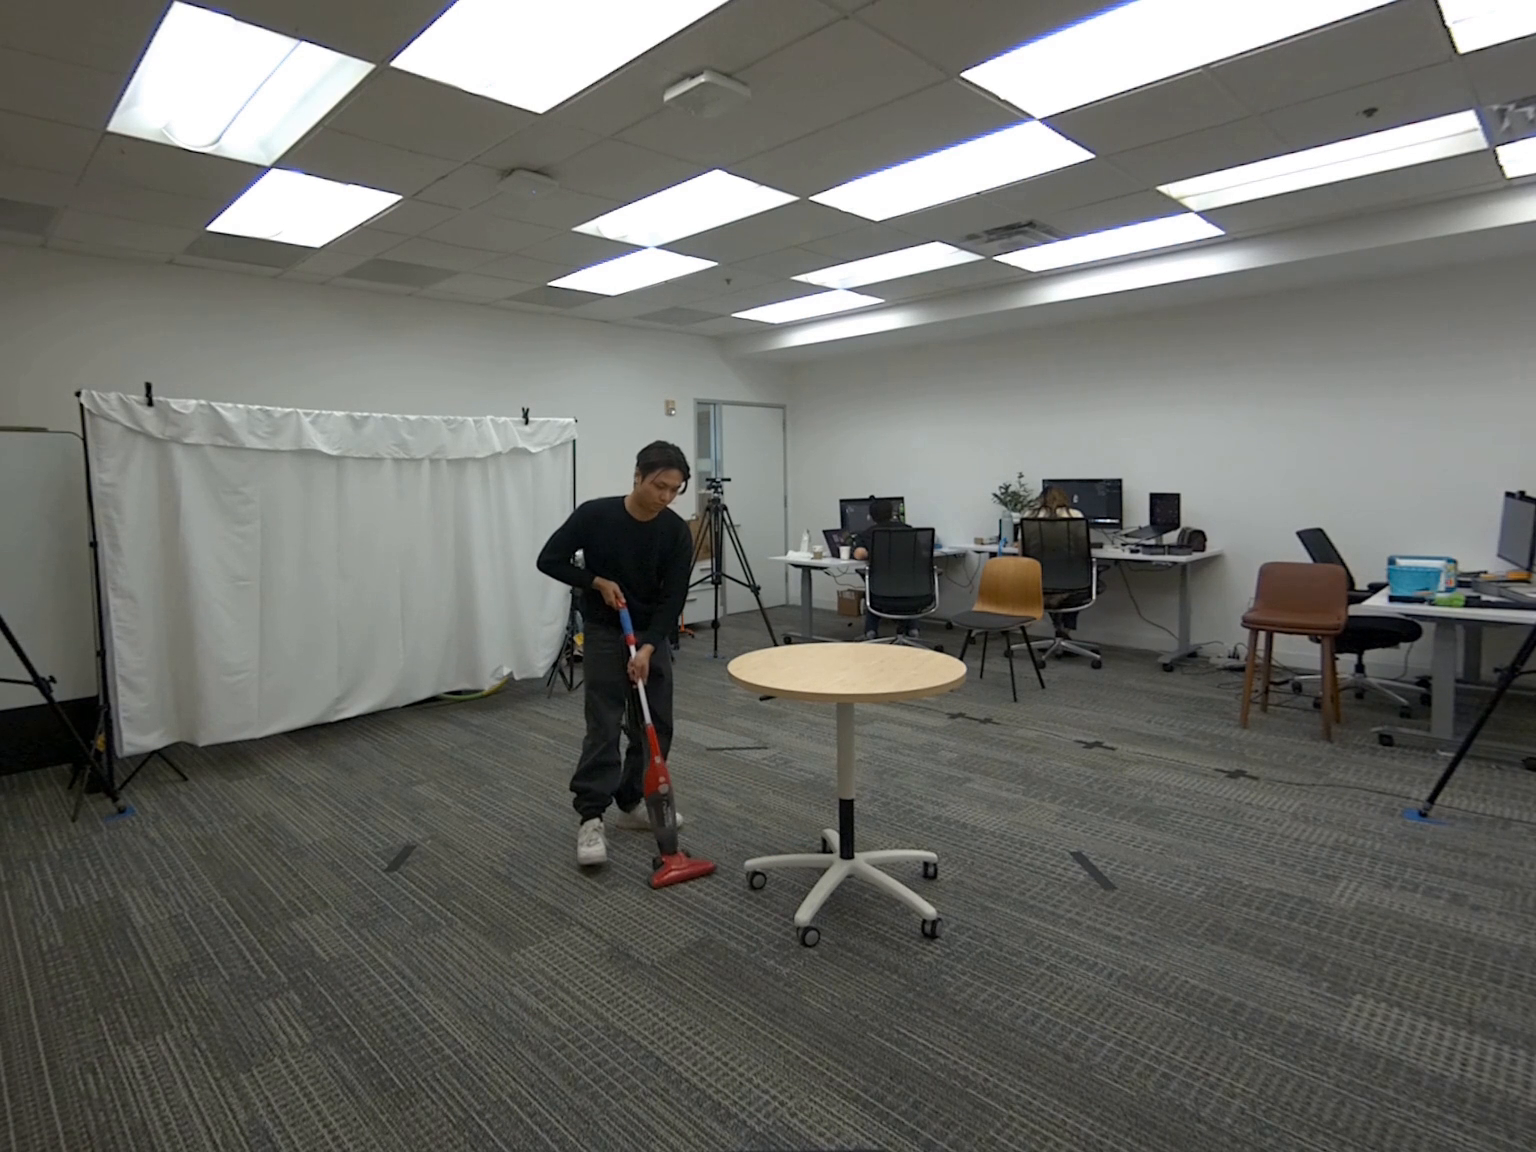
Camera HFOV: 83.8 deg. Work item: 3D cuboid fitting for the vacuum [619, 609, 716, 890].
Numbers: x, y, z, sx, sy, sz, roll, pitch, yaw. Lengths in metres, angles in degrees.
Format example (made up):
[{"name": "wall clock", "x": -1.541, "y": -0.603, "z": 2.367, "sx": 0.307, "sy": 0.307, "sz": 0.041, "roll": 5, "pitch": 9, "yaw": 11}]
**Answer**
[{"name": "vacuum", "x": -0.443, "y": 0.566, "z": 3.155, "sx": 0.247, "sy": 1.065, "sz": 0.145, "roll": -6, "pitch": -15, "yaw": -30}]
